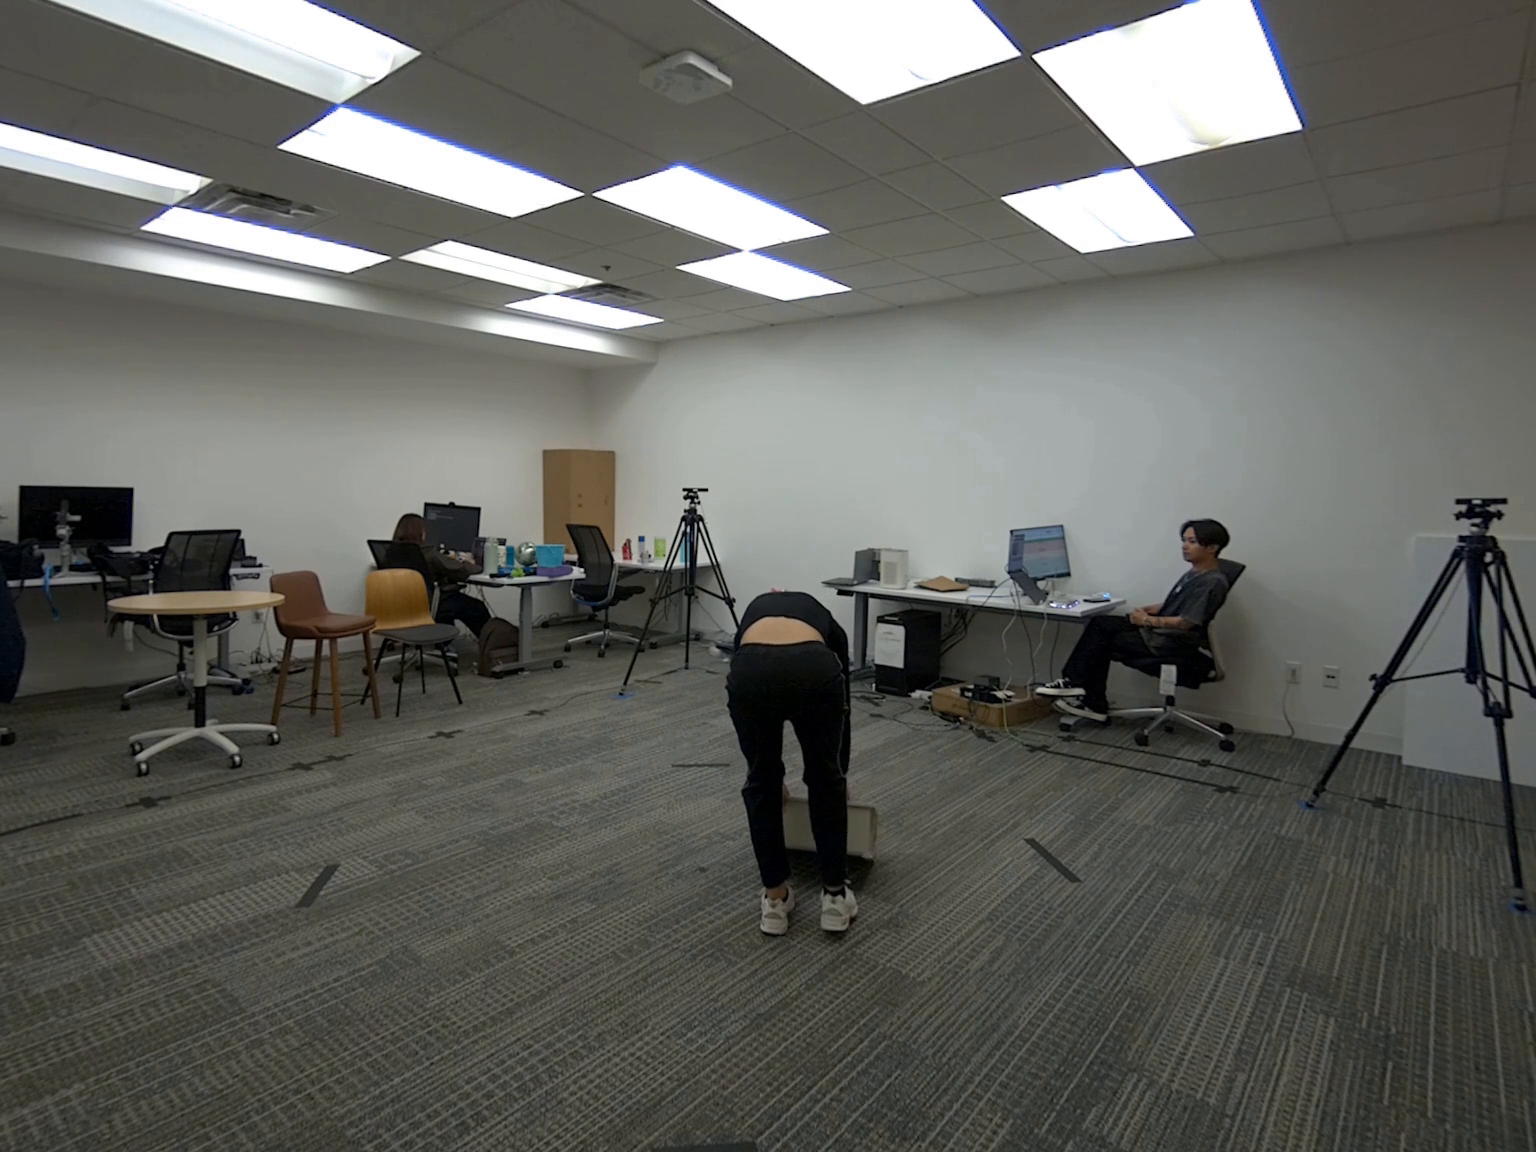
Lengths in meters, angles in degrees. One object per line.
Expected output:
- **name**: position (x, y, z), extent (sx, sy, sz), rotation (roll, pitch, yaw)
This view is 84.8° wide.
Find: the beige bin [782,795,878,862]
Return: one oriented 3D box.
- **beige bin**: position (0.175, 0.936, 3.160), extent (0.427, 0.192, 0.367), rotation (3, -18, 9)
